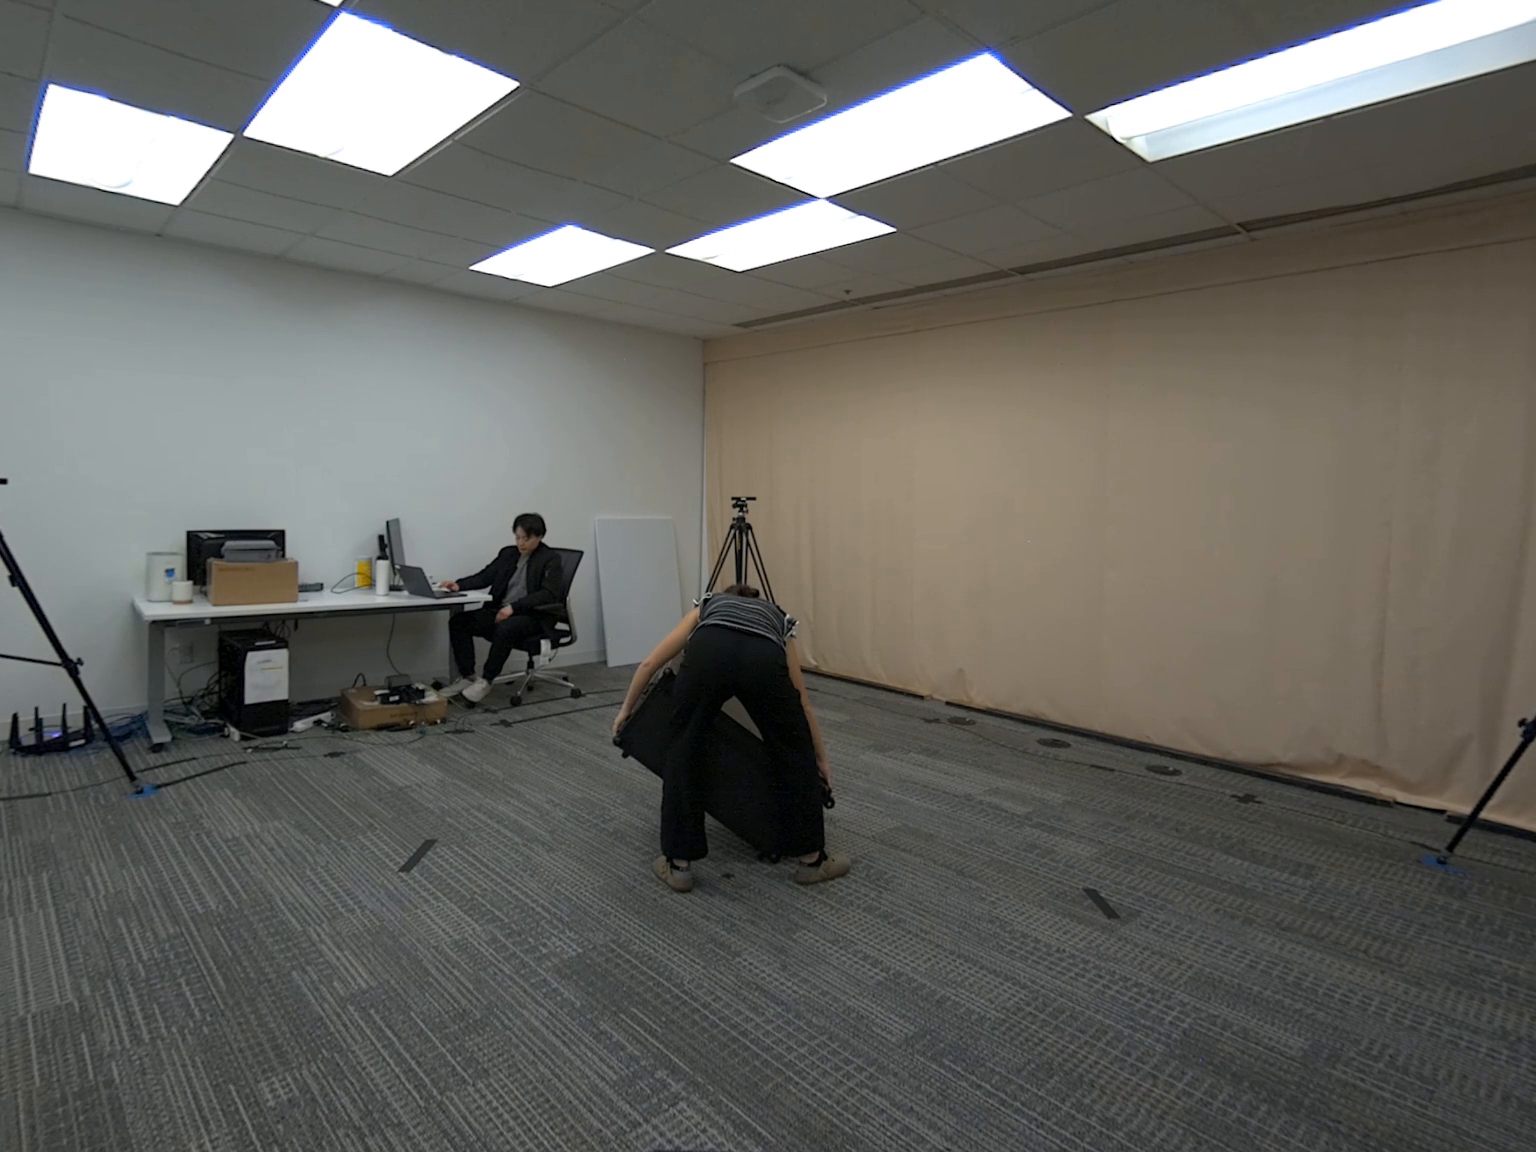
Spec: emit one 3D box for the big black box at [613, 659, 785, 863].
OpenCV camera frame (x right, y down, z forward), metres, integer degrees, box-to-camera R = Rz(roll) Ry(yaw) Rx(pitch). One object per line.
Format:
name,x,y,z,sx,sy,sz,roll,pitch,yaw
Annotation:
big black box,-0.177,0.737,3.442,0.859,0.396,0.523,37,2,-3
